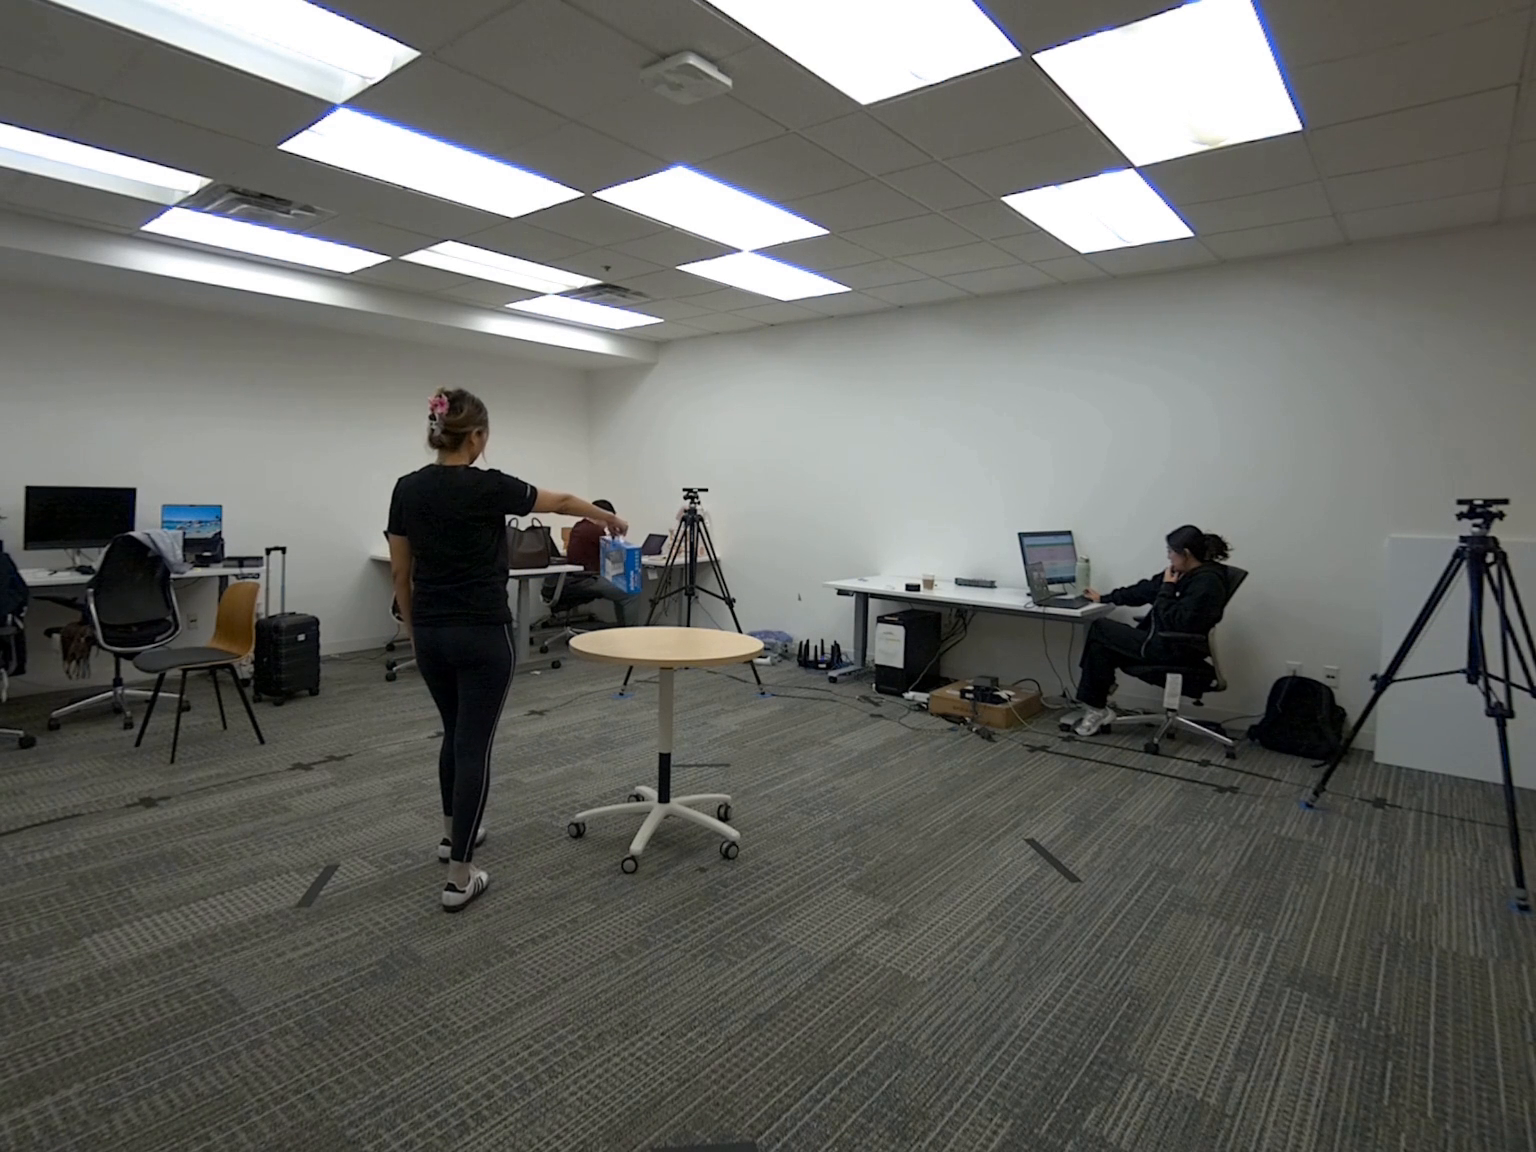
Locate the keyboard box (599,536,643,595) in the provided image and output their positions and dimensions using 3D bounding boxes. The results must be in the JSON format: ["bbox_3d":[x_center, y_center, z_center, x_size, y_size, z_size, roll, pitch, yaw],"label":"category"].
[{"bbox_3d":[-0.602,-0.052,3.365,0.058,0.175,0.449,-3,9,-24],"label":"keyboard box"}]
